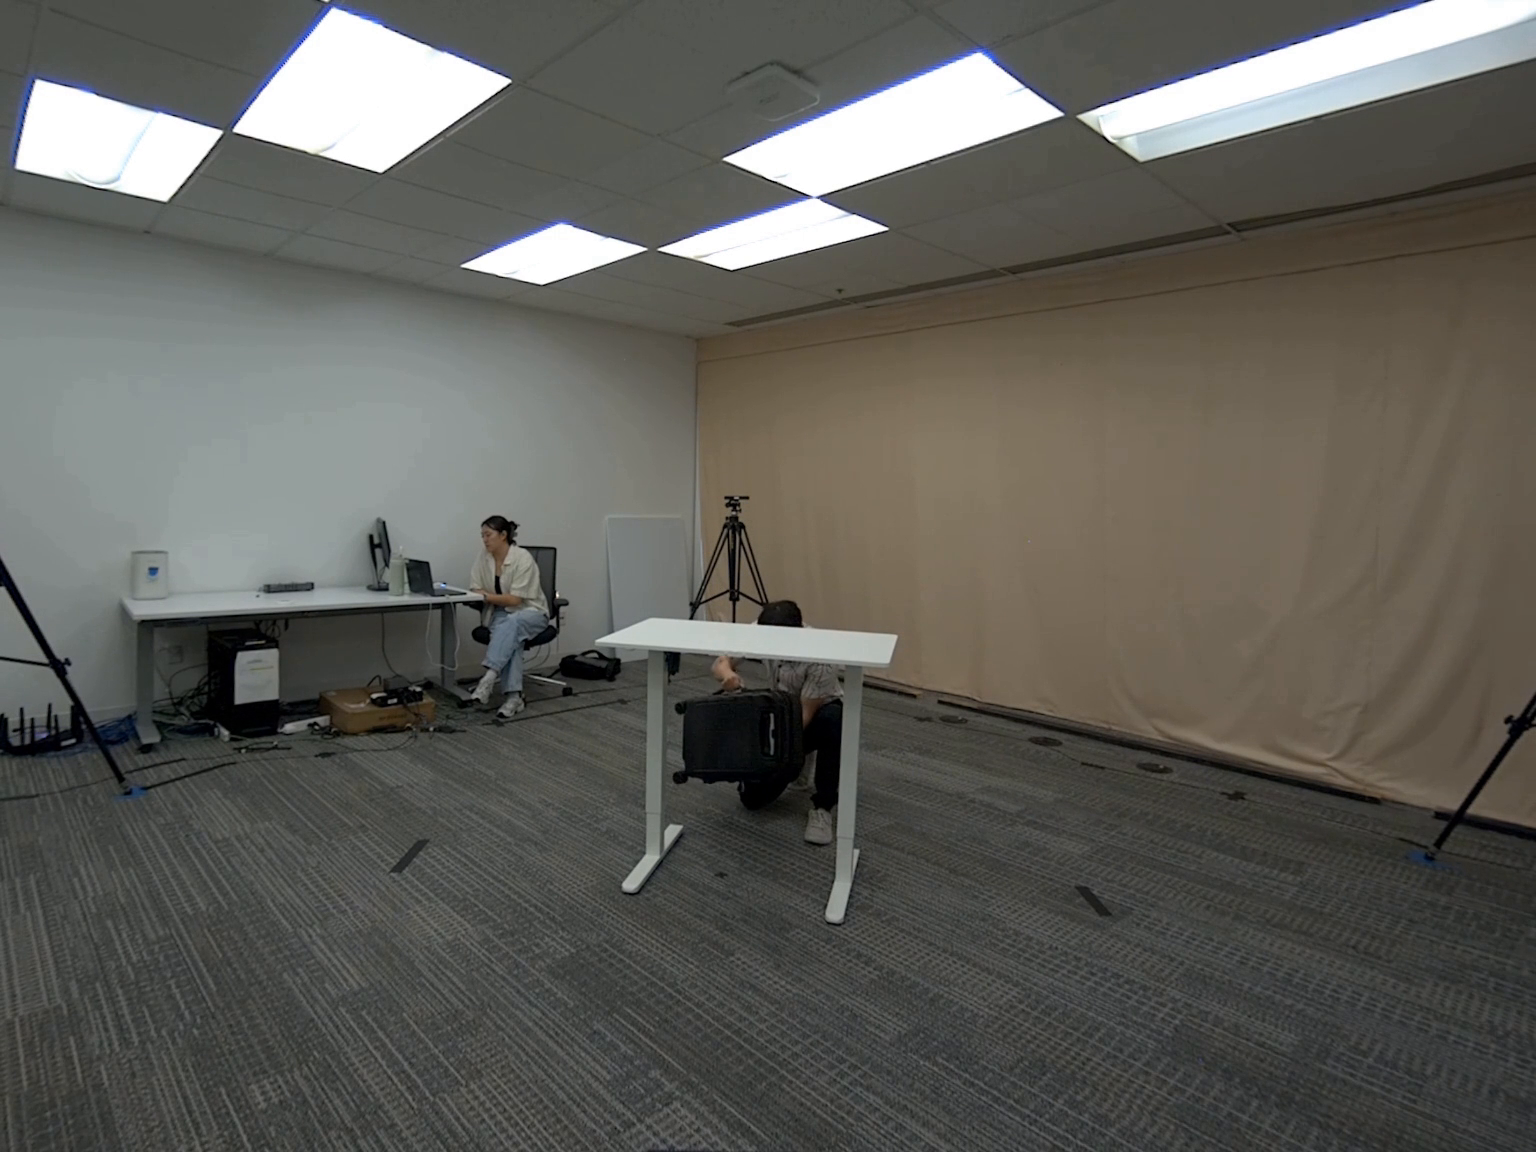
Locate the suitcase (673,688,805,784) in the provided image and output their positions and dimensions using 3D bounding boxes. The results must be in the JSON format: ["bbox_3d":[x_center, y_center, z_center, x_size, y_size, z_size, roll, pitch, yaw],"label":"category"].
[{"bbox_3d":[-0.125,0.666,3.534,0.559,0.380,0.241,-13,-19,37],"label":"suitcase"}]
